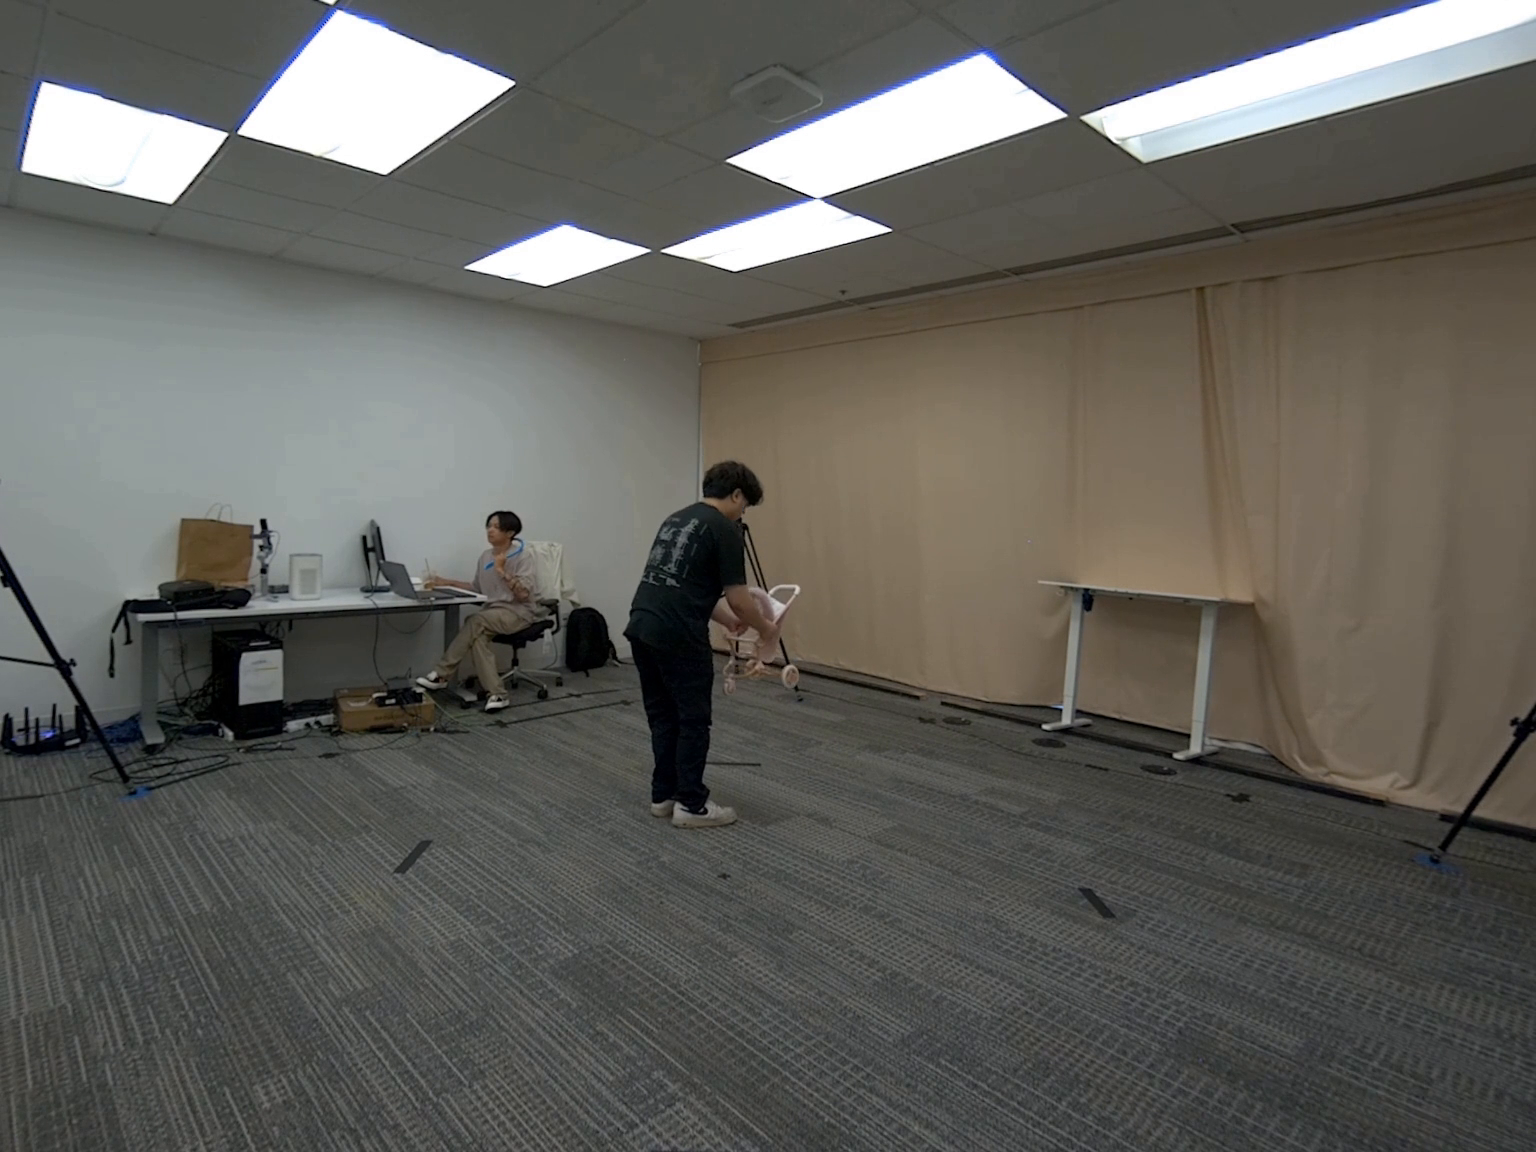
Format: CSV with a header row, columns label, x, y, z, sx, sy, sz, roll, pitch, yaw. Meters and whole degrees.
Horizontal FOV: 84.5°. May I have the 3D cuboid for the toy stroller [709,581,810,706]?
label,x,y,z,sx,sy,sz,roll,pitch,yaw
toy stroller,-0.060,0.301,3.907,0.333,0.536,0.288,8,-4,-35
